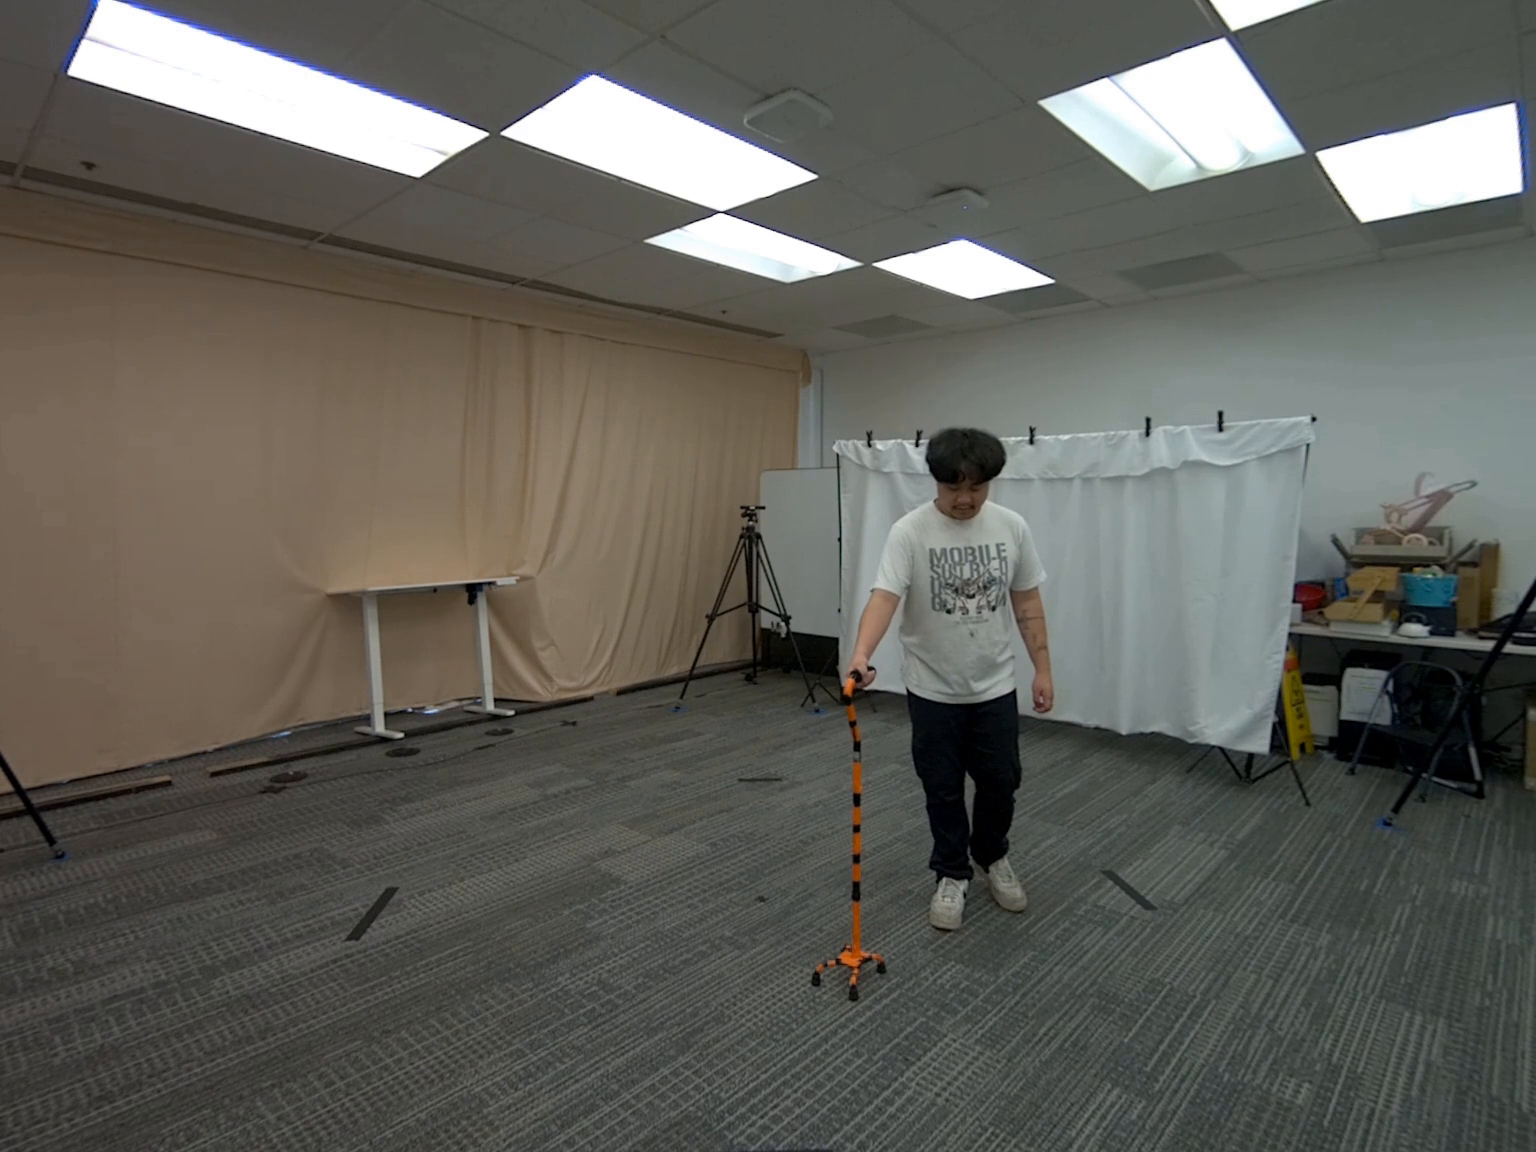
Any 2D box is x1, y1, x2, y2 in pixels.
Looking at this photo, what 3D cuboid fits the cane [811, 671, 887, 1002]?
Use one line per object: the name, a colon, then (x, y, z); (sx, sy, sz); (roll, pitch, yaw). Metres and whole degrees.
cane: (0.248, 0.739, 2.468); (0.156, 0.907, 0.200); (2, 2, 36)
